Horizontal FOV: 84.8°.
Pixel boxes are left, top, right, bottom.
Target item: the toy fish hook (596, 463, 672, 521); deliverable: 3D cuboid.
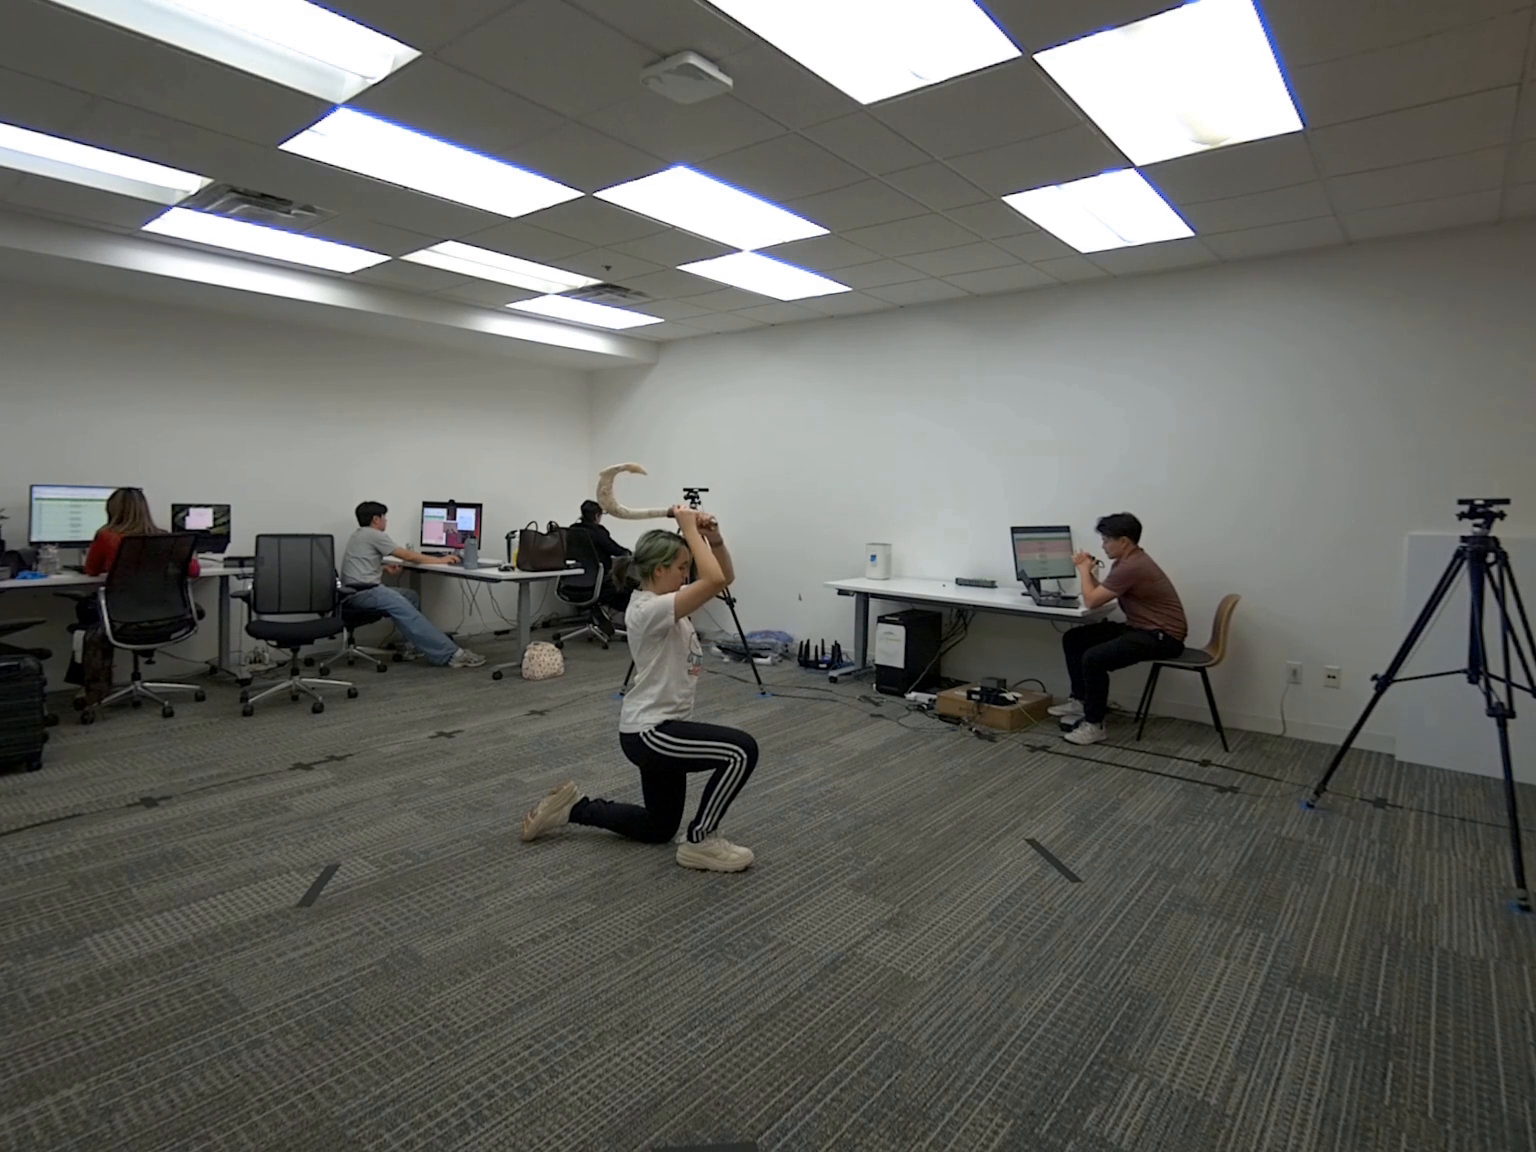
[{"bbox_3d":[-0.430,-0.313,3.295,0.513,0.222,0.048,12,13,10],"label":"toy fish hook"}]
